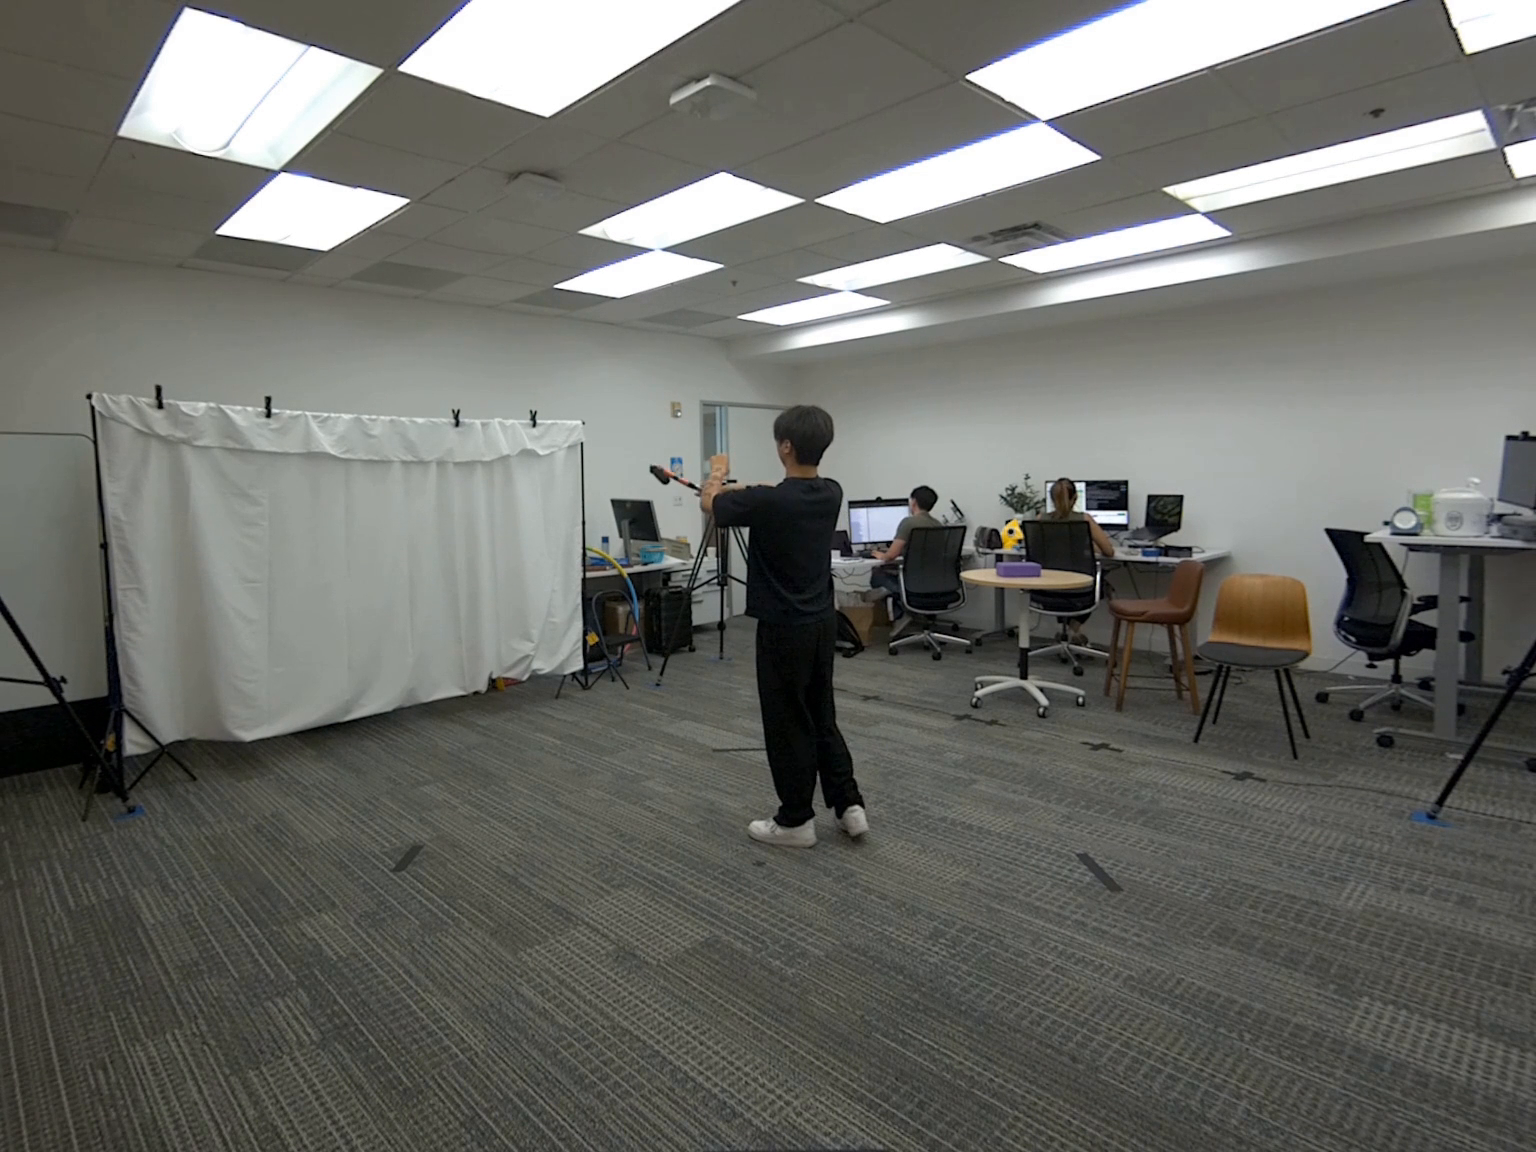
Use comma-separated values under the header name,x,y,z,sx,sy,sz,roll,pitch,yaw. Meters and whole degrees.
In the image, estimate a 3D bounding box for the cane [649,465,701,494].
name,x,y,z,sx,sy,sz,roll,pitch,yaw
cane,-0.166,-0.337,3.675,0.876,0.151,0.215,16,21,-43
